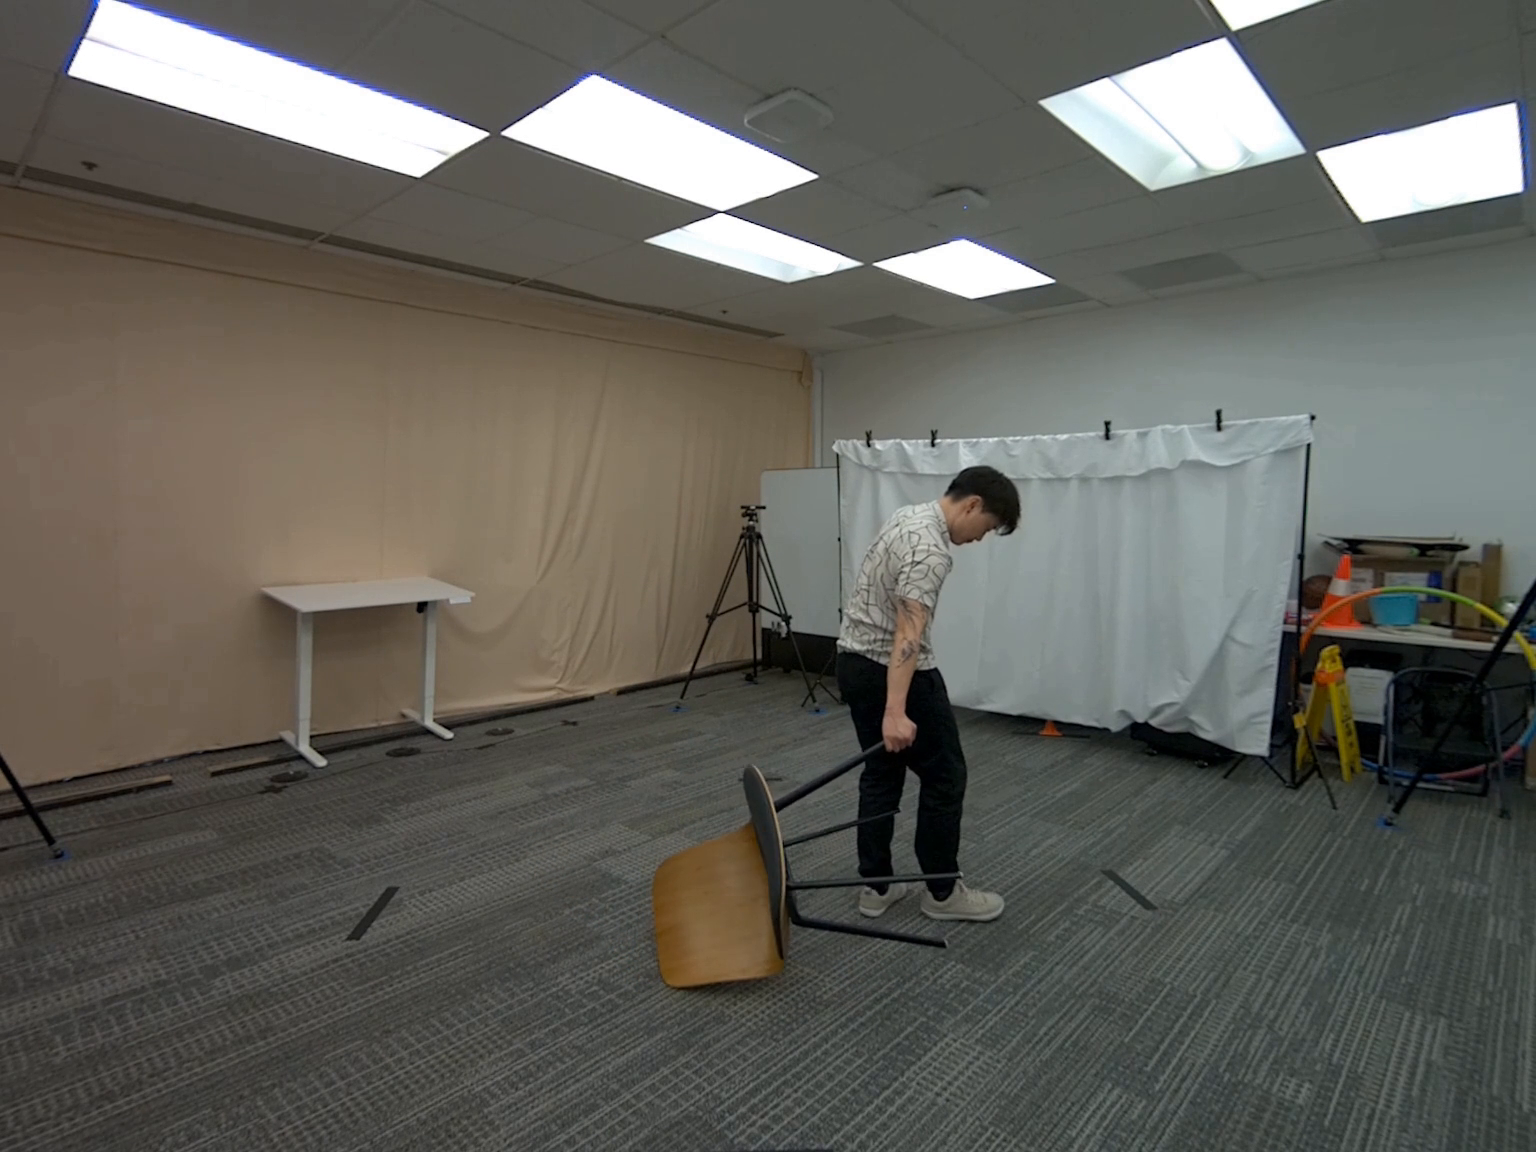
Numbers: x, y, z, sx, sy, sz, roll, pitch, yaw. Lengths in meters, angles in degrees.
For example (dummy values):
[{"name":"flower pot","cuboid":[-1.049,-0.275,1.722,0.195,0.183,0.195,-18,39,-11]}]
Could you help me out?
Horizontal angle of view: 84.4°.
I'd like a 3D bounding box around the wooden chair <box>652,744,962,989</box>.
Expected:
[{"name":"wooden chair","cuboid":[0.043,0.841,2.419,0.878,0.510,0.490,-12,45,0]}]
